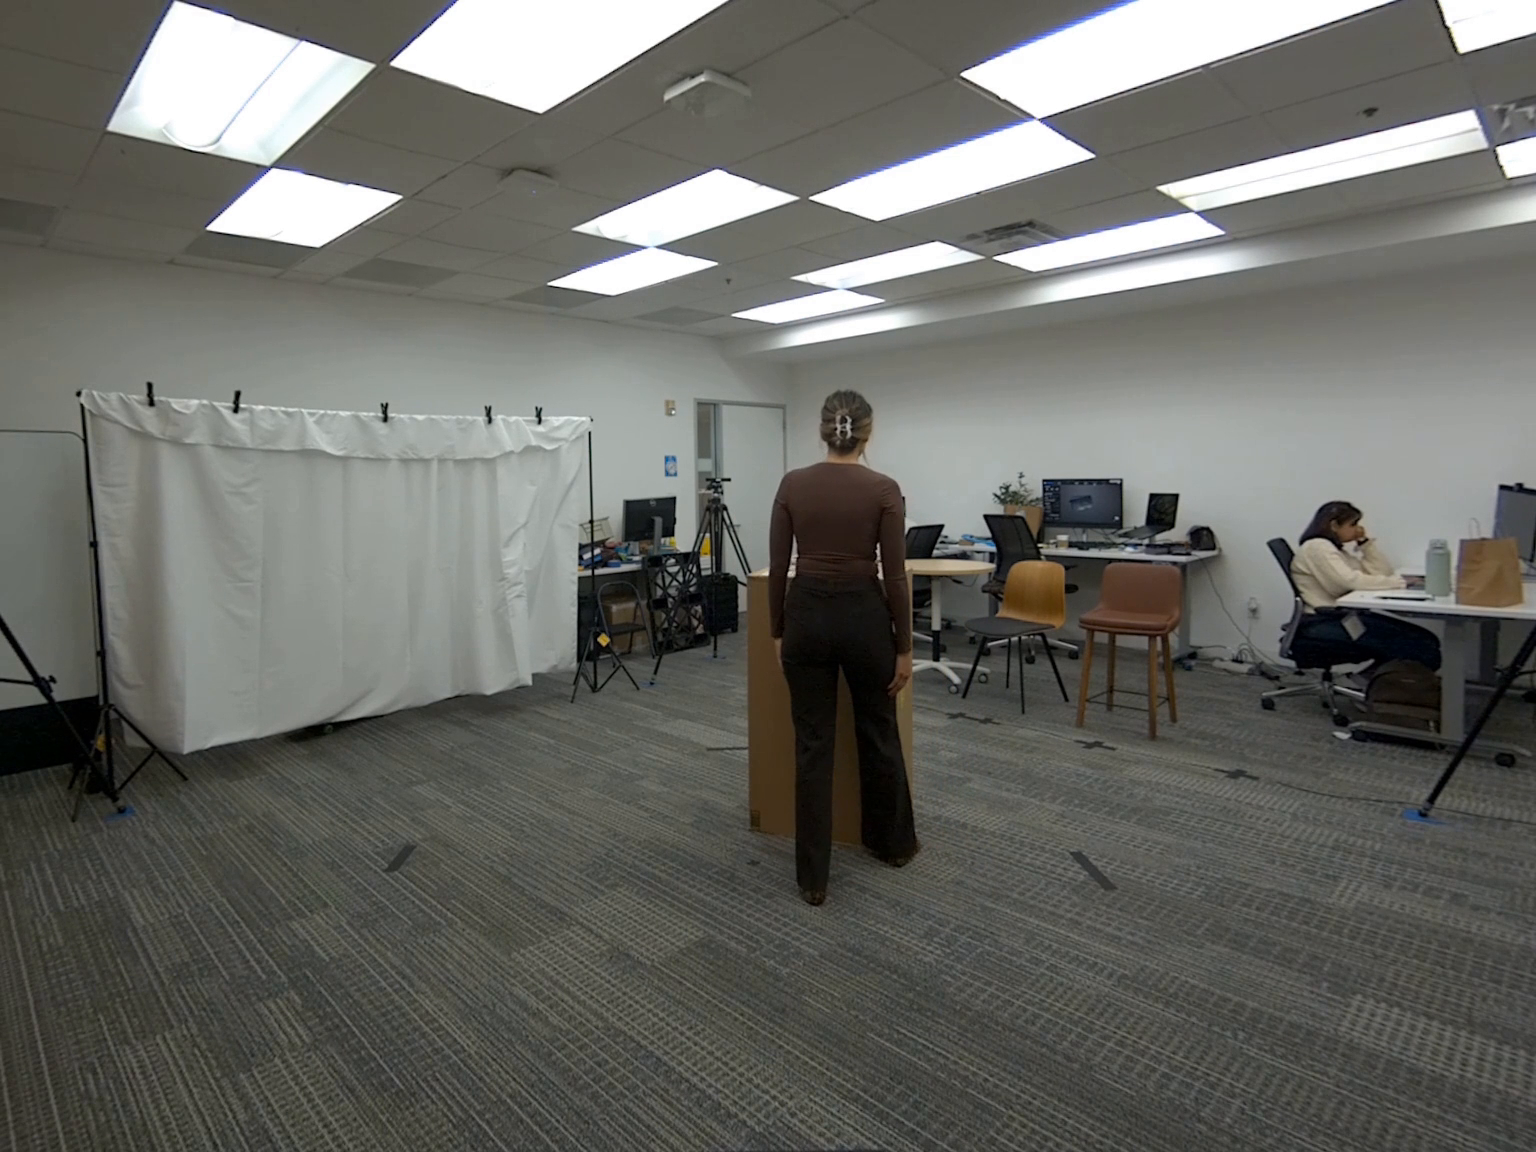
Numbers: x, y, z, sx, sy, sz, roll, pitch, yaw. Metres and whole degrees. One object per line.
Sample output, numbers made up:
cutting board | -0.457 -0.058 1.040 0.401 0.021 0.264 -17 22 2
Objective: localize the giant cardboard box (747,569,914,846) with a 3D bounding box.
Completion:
giant cardboard box | 0.256 0.486 3.450 0.596 1.023 0.439 1 5 22
